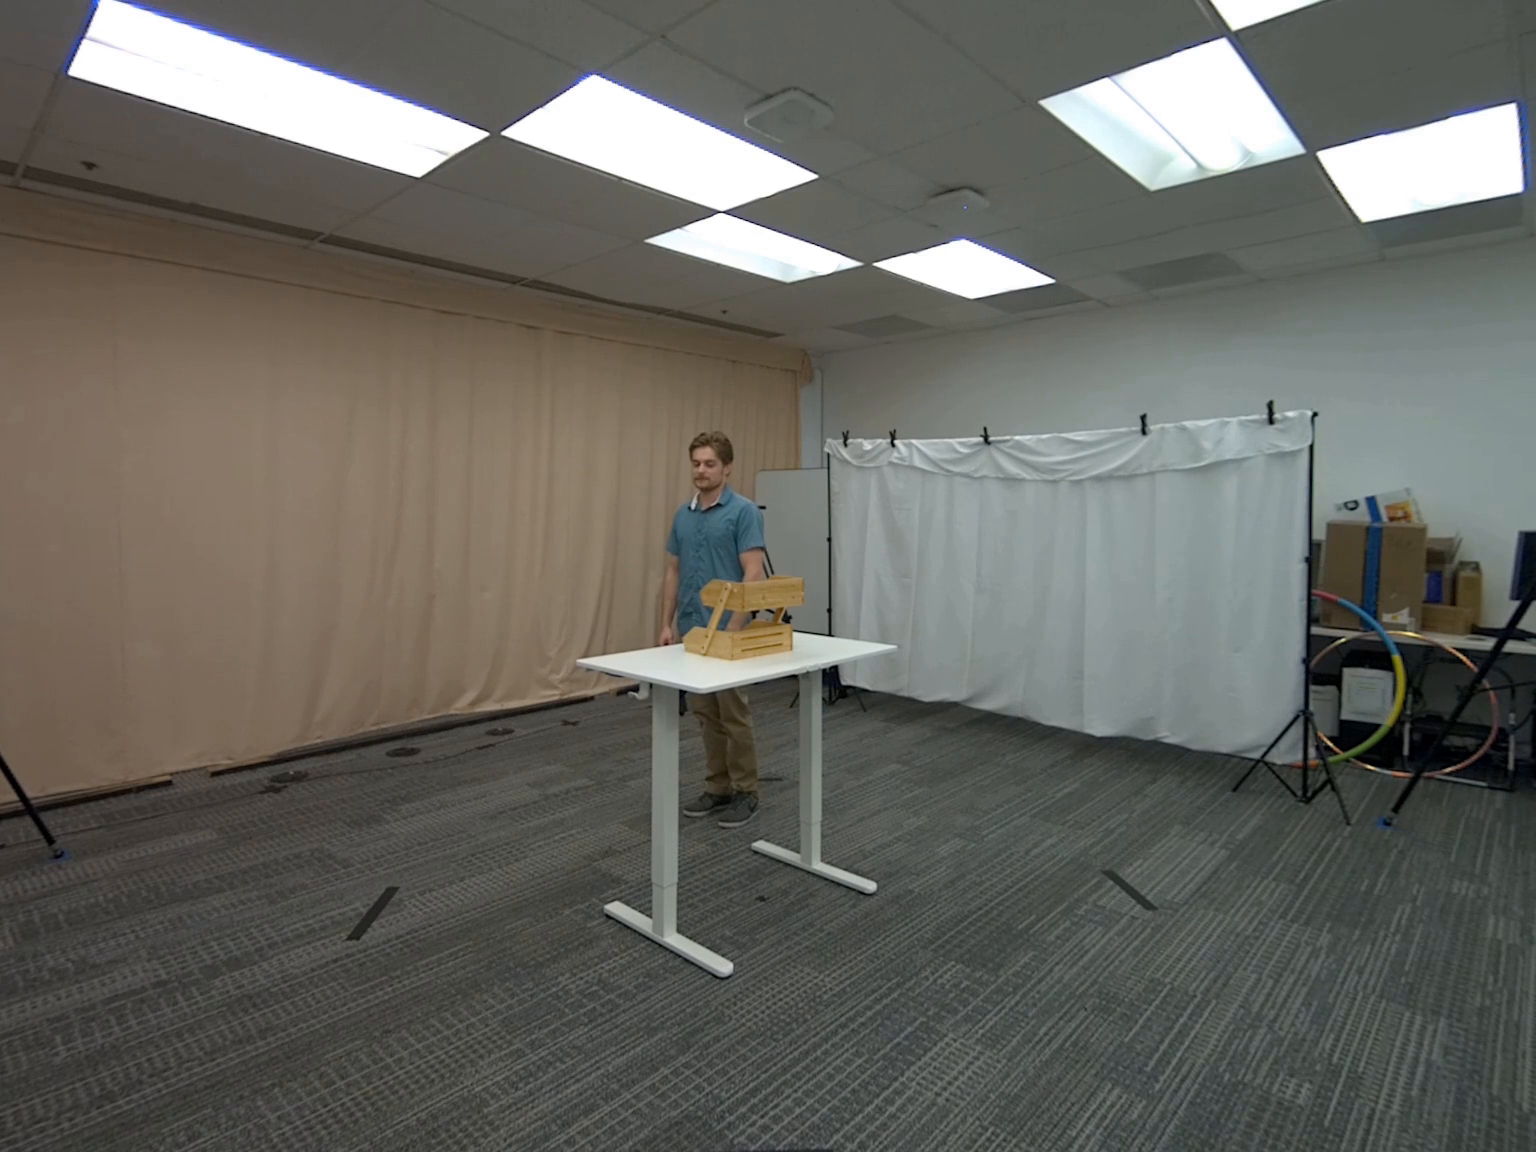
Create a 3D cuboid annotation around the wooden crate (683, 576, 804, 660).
[{"bbox_3d":[-0.083,0.133,2.934,0.312,0.272,0.314,5,6,44],"label":"wooden crate"}]
